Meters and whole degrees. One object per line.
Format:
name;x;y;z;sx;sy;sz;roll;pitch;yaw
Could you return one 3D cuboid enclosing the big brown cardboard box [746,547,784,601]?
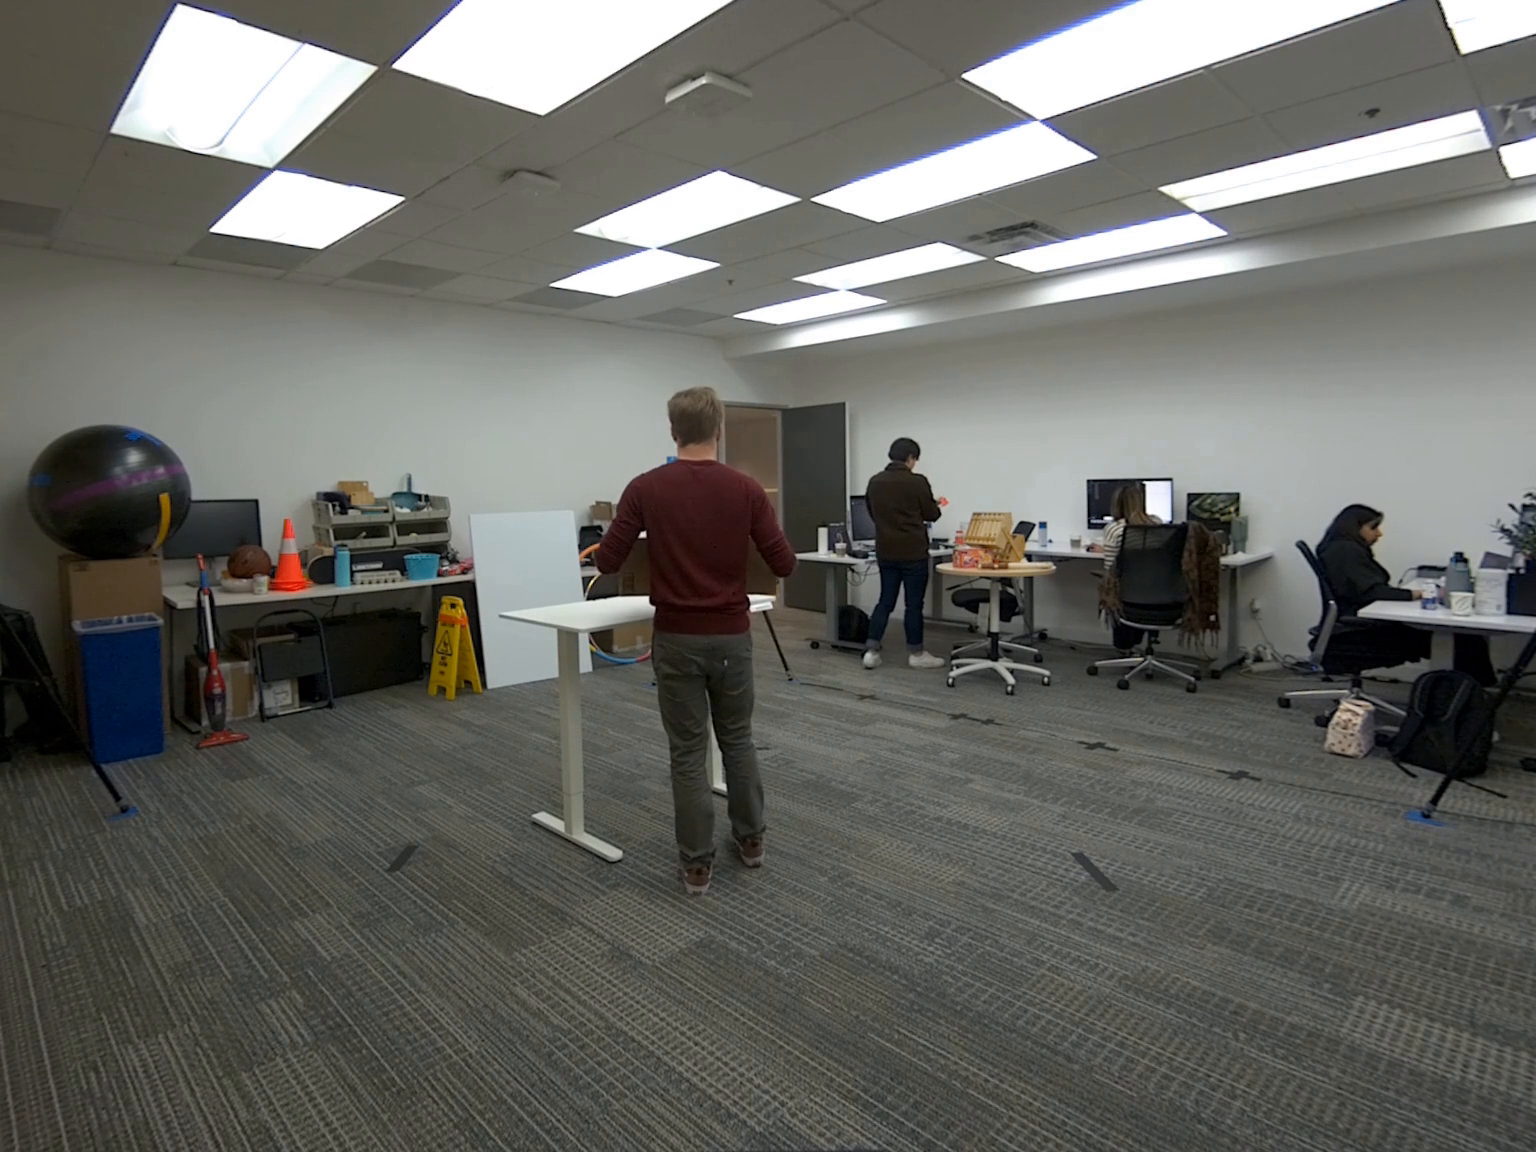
big brown cardboard box;-0.261;-0.072;3.237;0.587;0.231;0.422;0;9;-4
